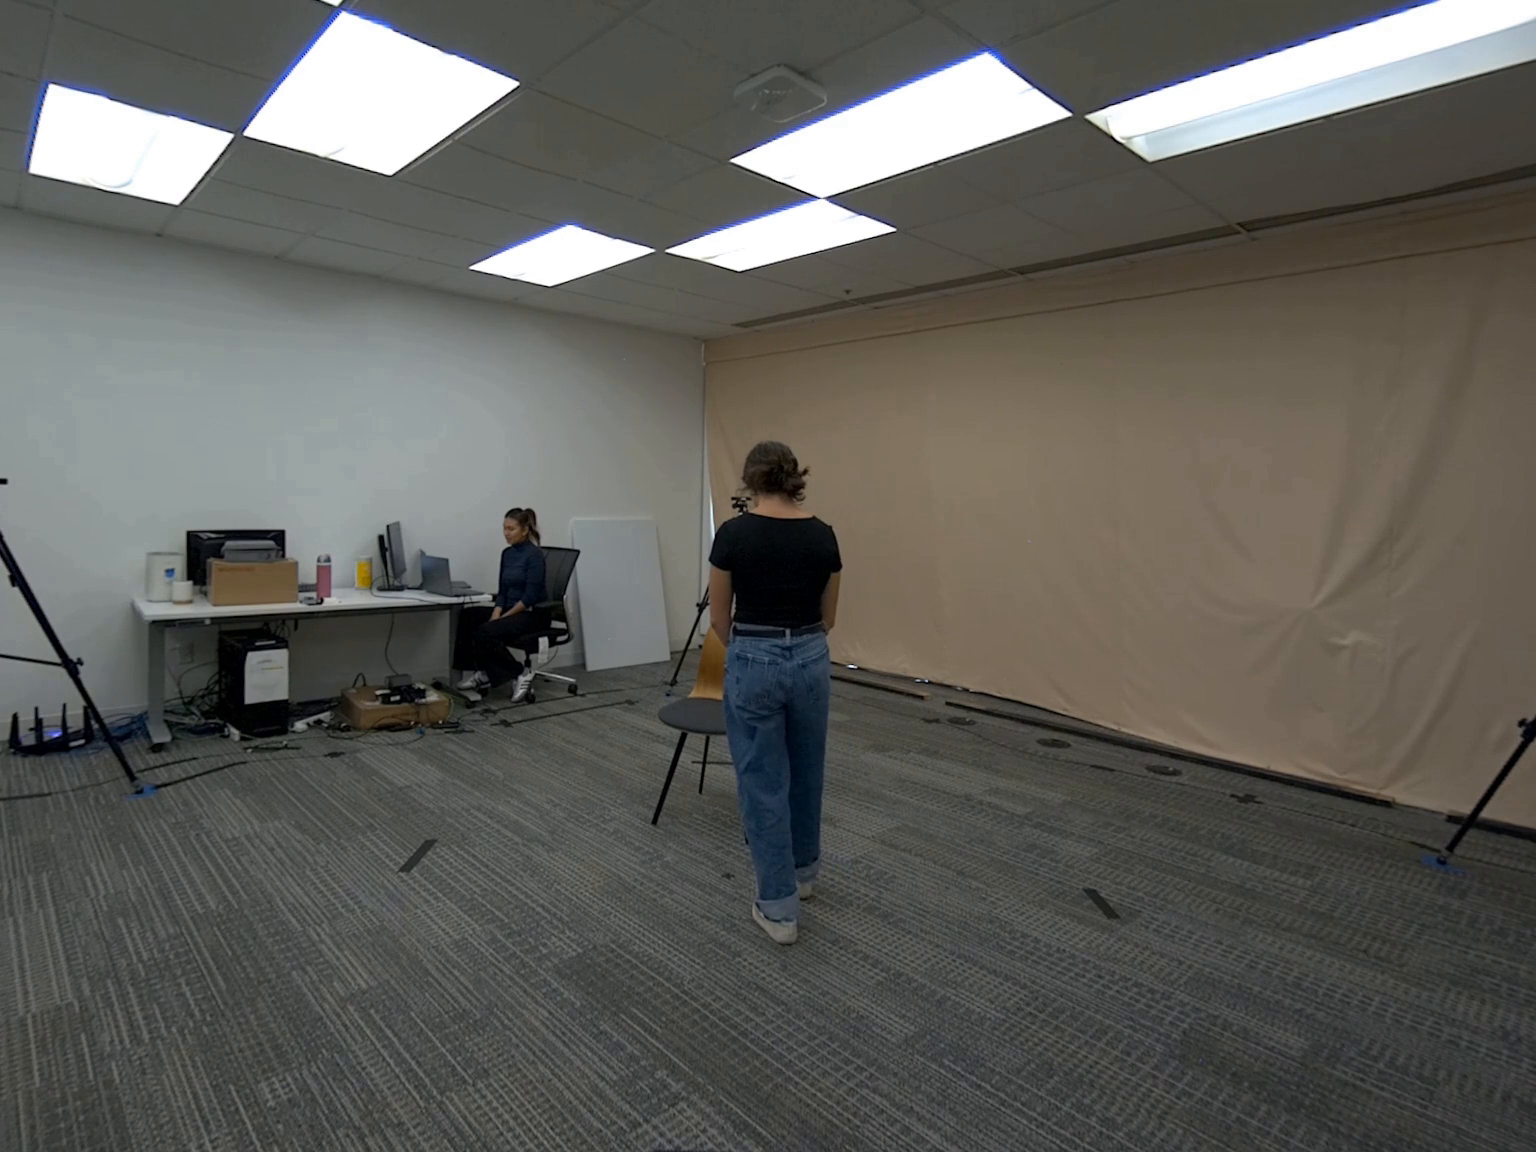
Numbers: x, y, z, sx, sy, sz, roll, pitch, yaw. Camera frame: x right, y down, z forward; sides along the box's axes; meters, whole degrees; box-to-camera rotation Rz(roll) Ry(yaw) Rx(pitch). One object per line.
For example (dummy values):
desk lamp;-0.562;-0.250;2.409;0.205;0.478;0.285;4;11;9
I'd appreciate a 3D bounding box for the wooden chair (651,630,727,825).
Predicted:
wooden chair;-0.198;0.631;3.649;0.487;0.878;0.513;3;-1;24
